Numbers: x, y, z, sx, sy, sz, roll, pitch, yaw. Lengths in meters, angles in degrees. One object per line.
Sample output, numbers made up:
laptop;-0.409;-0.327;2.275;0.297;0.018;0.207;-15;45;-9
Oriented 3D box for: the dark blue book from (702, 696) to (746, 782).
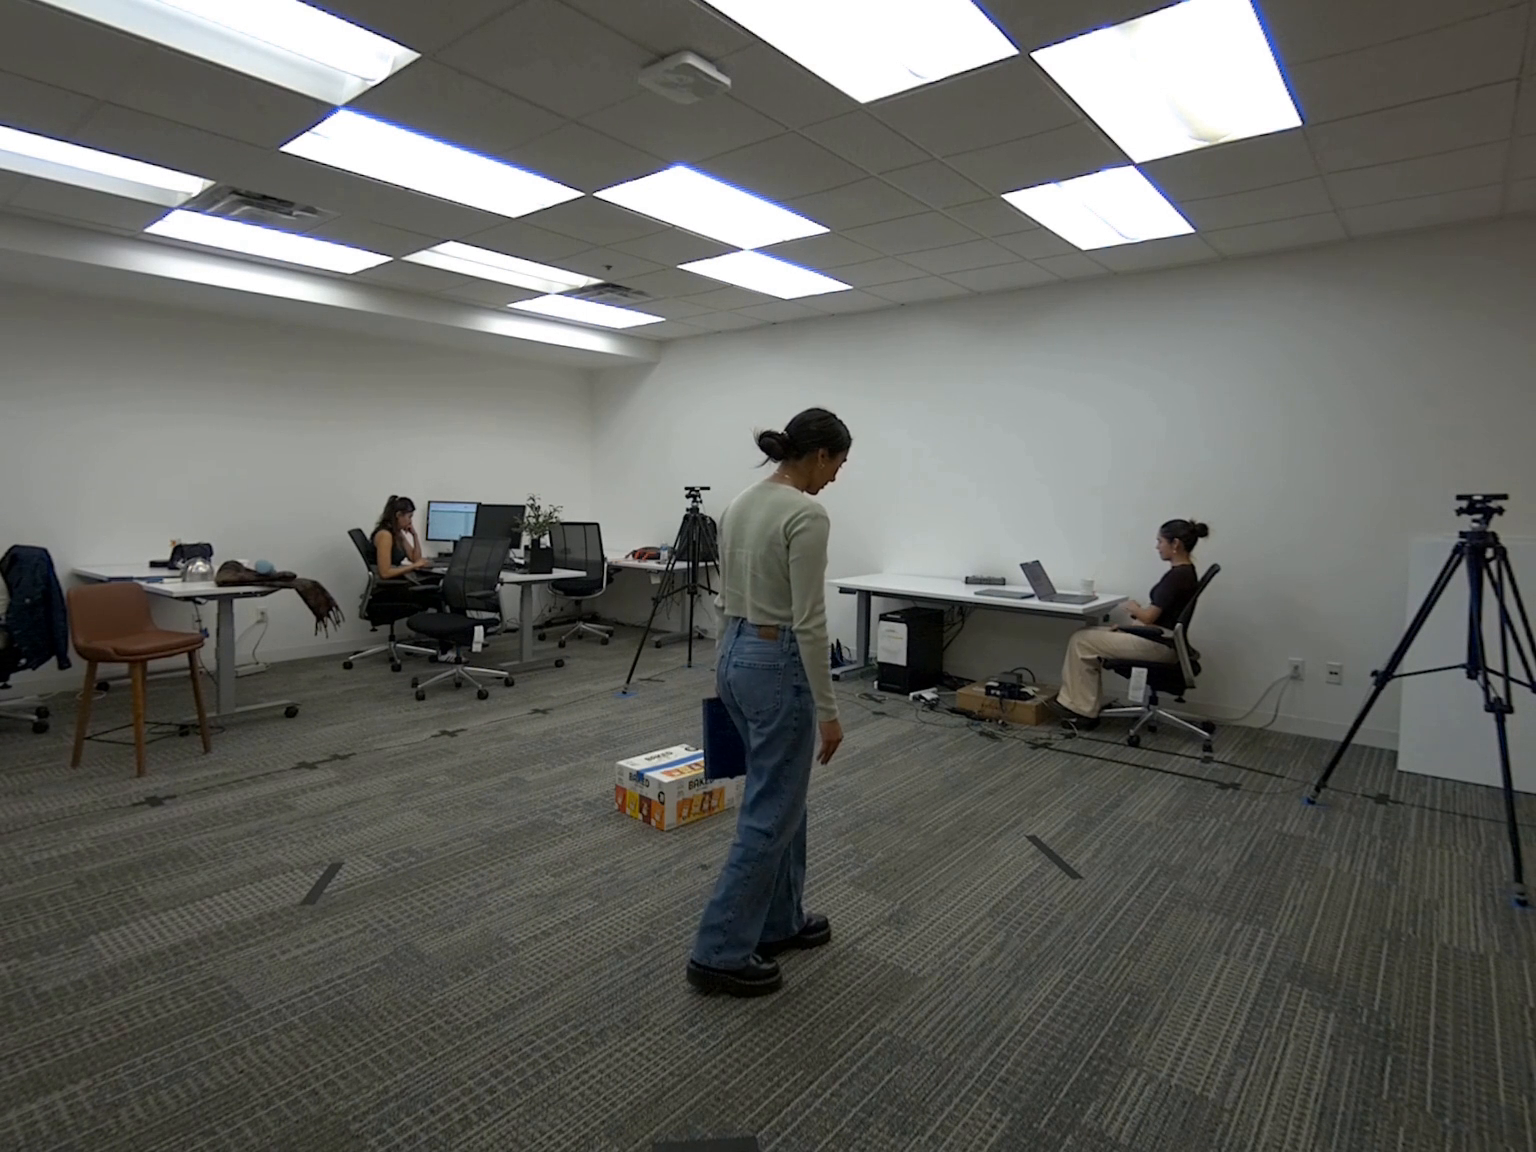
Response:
dark blue book;-0.131;0.503;2.662;0.159;0.246;0.046;-1;-4;-35
